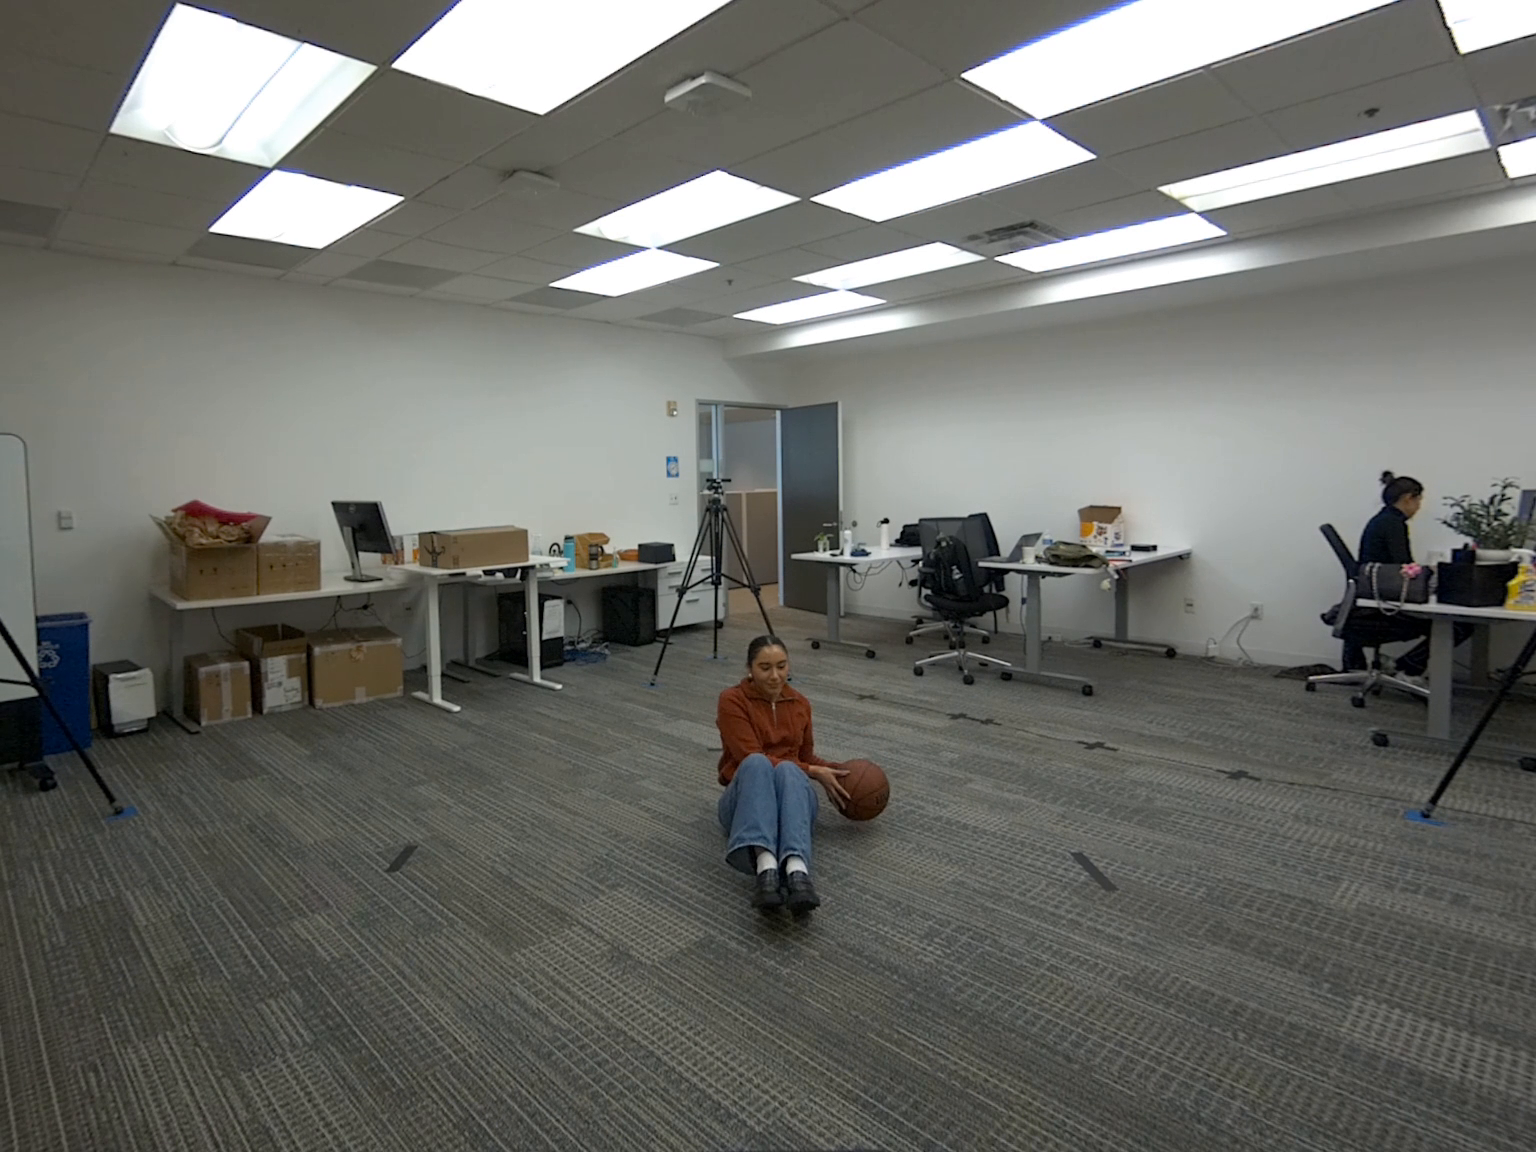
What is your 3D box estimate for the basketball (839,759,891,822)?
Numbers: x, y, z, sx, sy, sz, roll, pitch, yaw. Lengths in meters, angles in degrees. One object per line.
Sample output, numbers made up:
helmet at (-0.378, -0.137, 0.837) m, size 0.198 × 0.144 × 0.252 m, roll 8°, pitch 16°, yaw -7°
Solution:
basketball at (0.360, 0.840, 3.364) m, size 0.236 × 0.235 × 0.237 m, roll -1°, pitch 5°, yaw -2°
